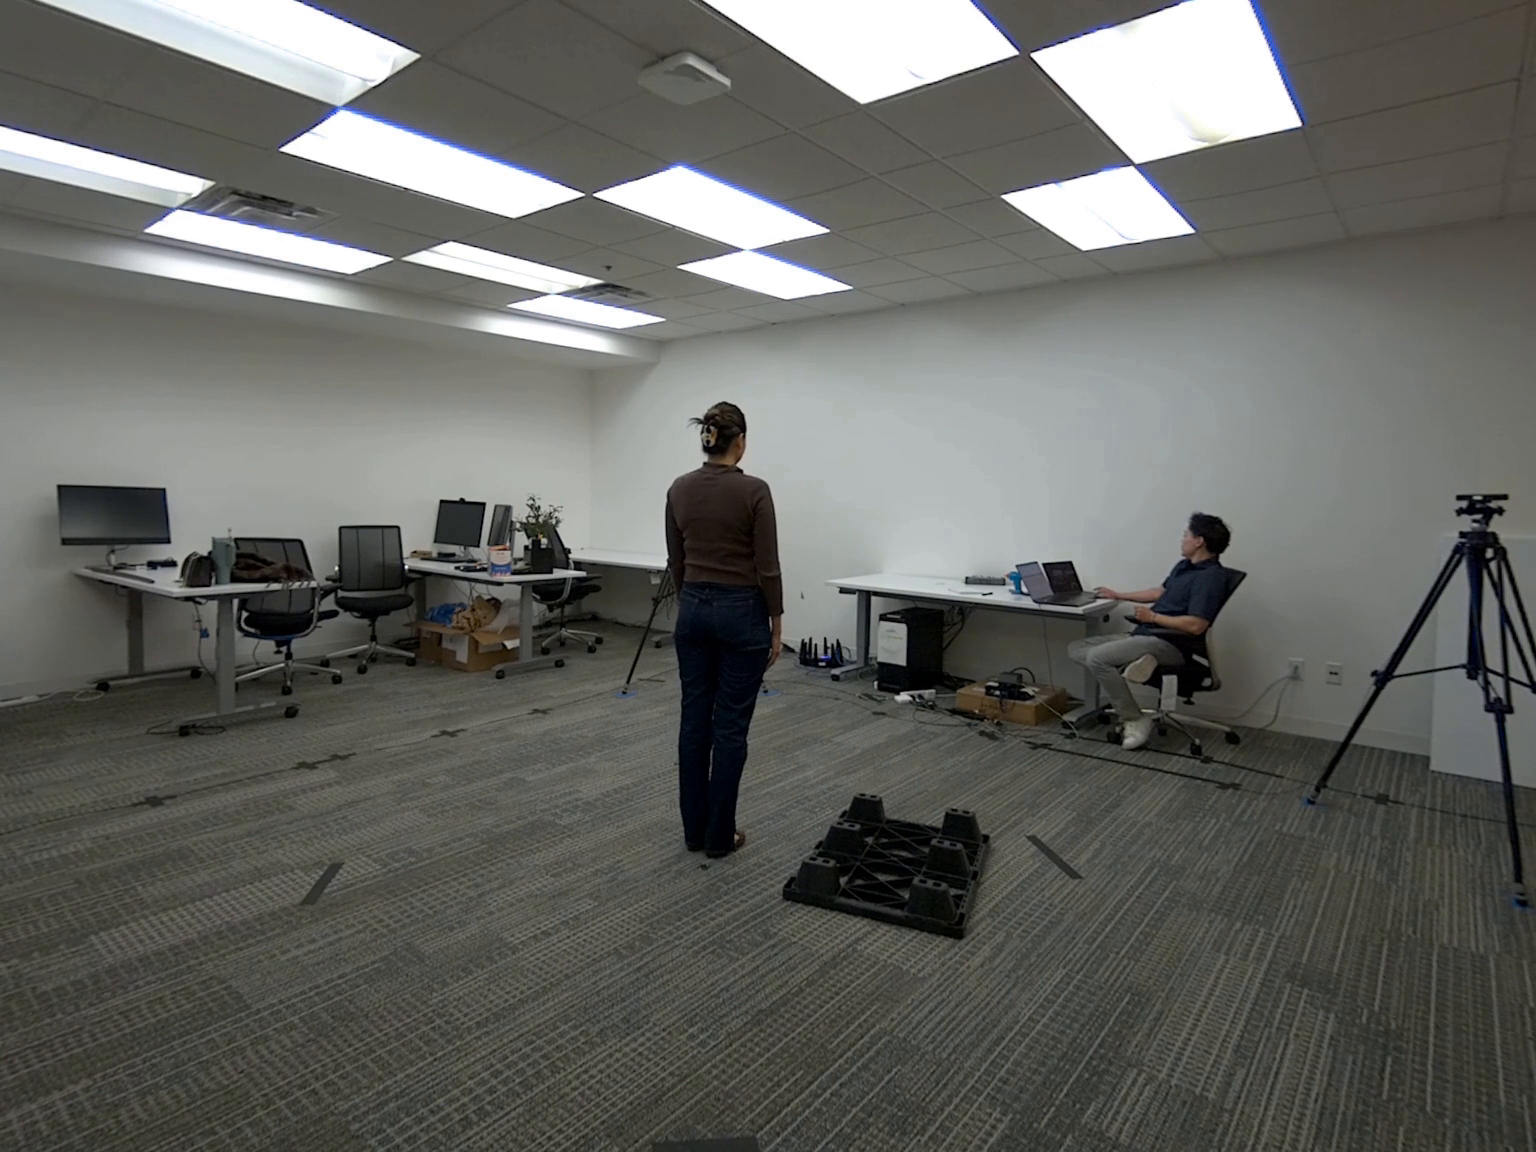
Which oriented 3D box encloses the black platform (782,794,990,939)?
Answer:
[{"bbox_3d":[0.460,1.010,3.116,0.619,0.143,0.790,3,6,21],"label":"black platform"}]
